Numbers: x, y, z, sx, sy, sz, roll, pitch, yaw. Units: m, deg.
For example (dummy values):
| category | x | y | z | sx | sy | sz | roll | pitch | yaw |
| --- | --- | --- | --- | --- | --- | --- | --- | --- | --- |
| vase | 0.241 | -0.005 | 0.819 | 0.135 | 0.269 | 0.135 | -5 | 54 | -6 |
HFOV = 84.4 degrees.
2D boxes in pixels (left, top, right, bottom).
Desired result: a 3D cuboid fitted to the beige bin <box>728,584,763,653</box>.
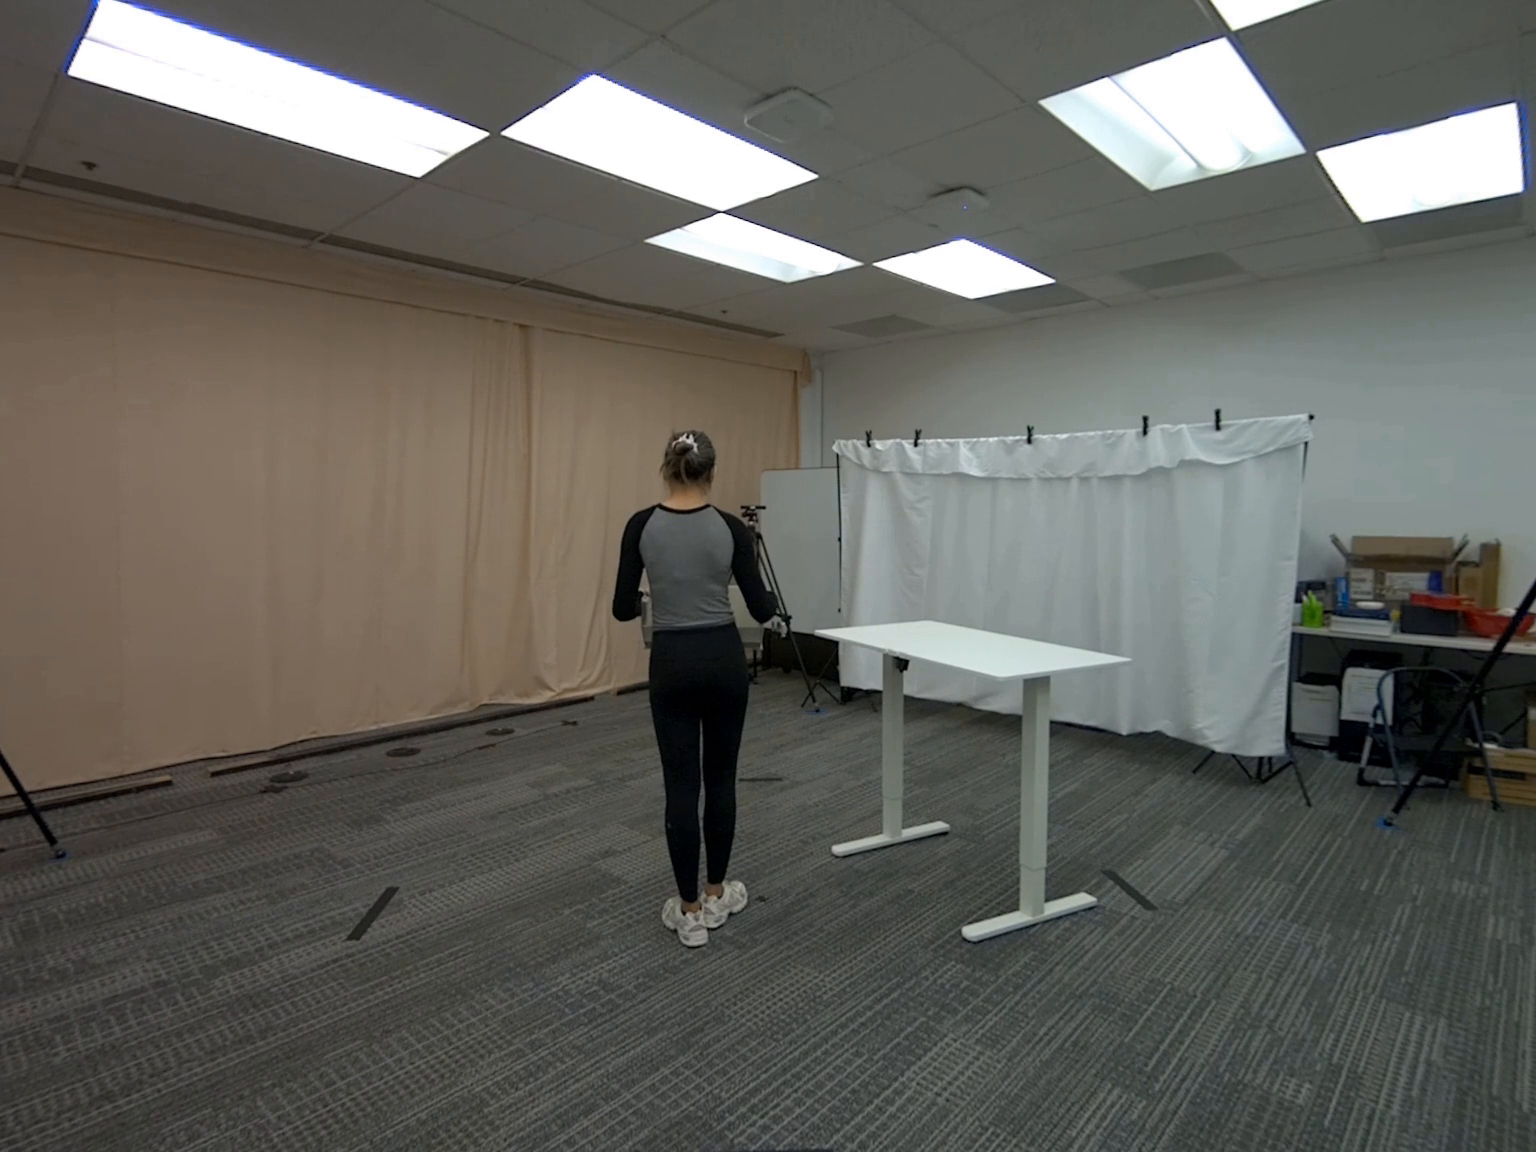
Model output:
| category | x | y | z | sx | sy | sz | roll | pitch | yaw |
| --- | --- | --- | --- | --- | --- | --- | --- | --- | --- |
| beige bin | -0.223 | 0.155 | 3.026 | 0.422 | 0.188 | 0.378 | -1 | 5 | -1 |
